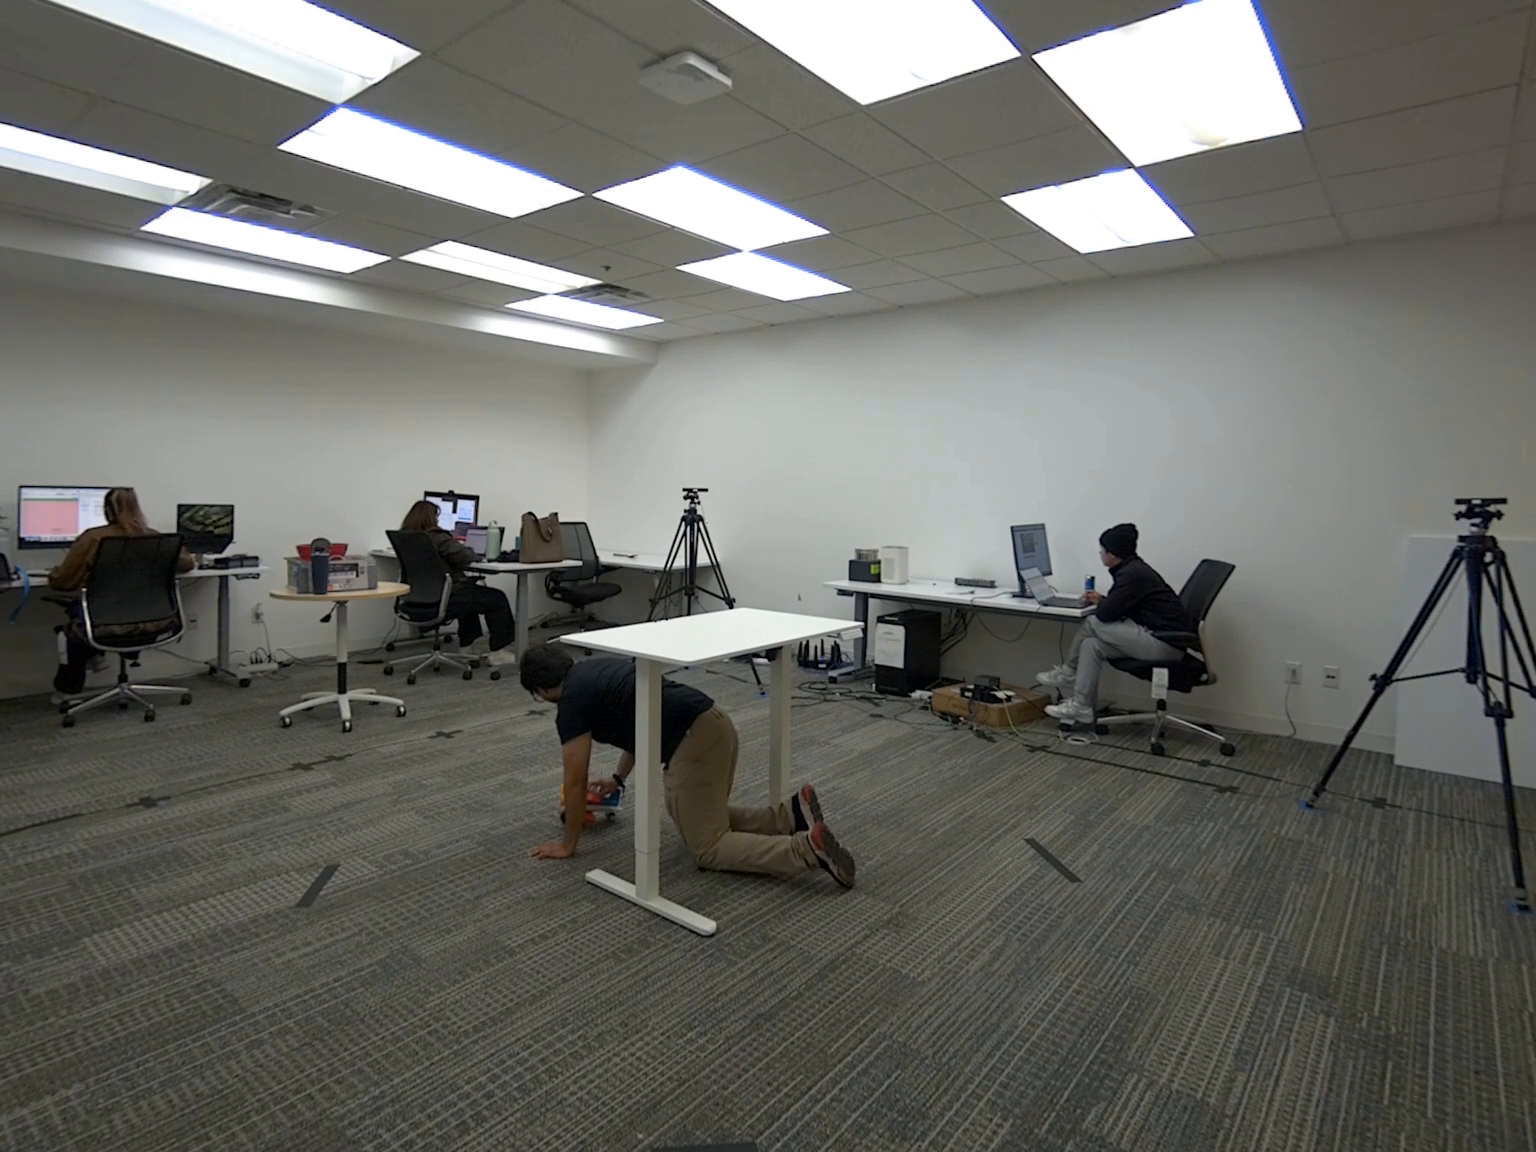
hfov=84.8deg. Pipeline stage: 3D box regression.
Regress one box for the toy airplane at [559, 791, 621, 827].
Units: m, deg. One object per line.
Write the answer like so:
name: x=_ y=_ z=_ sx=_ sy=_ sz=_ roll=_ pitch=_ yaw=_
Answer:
toy airplane: x=-0.760 y=0.947 z=3.535 sx=0.259 sy=0.156 sz=0.252 roll=2 pitch=4 yaw=34
